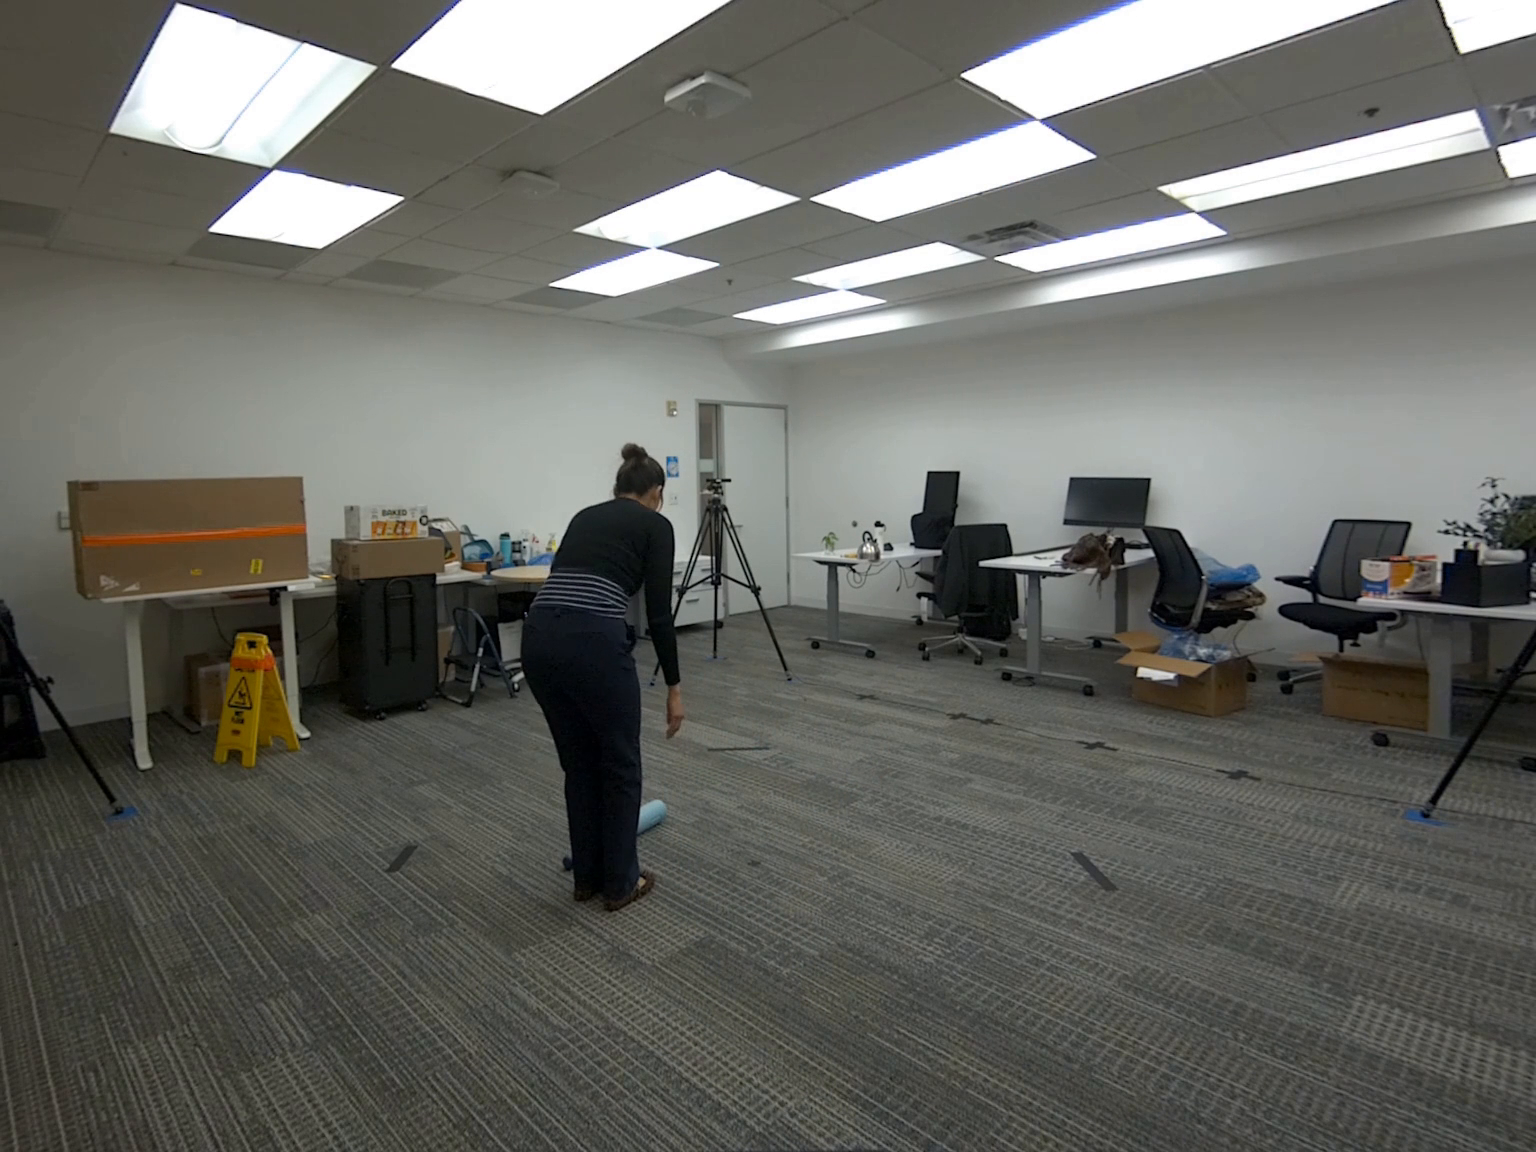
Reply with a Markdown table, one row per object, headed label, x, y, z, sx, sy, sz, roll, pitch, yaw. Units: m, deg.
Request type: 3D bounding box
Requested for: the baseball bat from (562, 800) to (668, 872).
| label | x | y | z | sx | sy | sz | roll | pitch | yaw |
| --- | --- | --- | --- | --- | --- | --- | --- | --- | --- |
| baseball bat | -0.581 | 0.999 | 3.294 | 0.091 | 0.088 | 0.532 | 2 | 10 | 33 |
